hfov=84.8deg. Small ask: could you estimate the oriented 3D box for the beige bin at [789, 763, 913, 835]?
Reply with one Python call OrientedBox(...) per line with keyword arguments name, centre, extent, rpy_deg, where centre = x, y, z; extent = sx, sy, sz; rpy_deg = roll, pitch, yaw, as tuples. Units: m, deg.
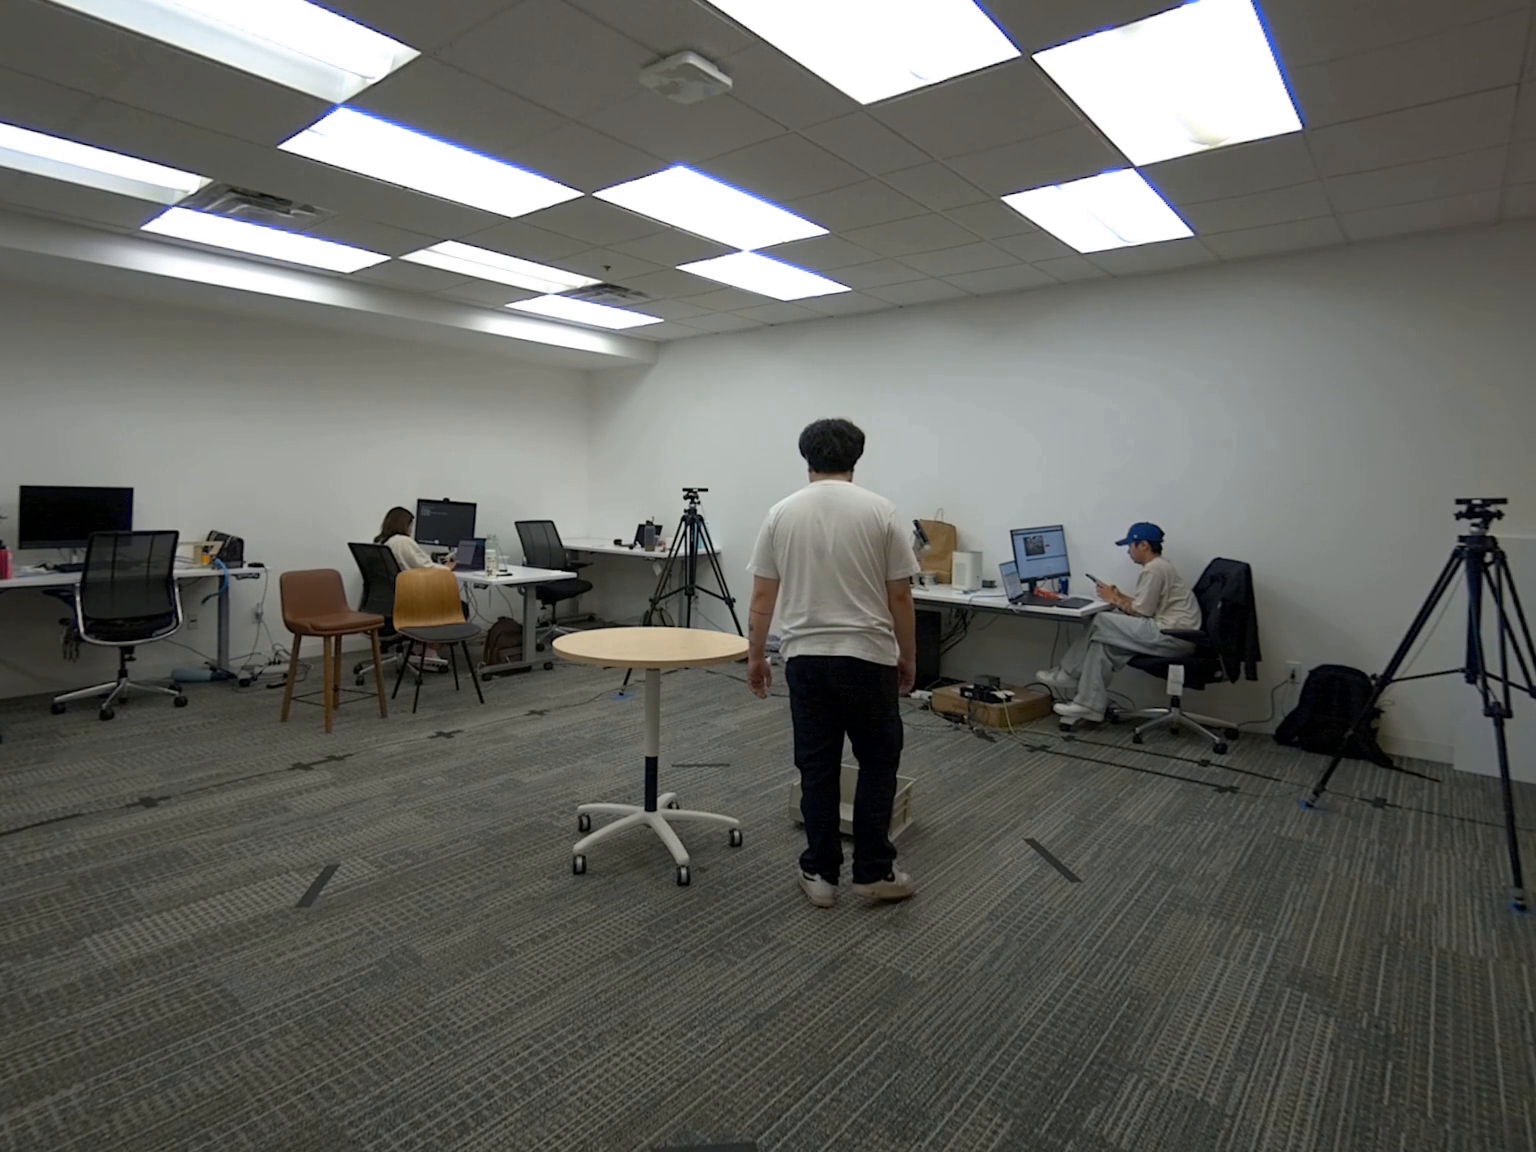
OrientedBox(name="beige bin", centre=(0.345, 0.944, 3.564), extent=(0.435, 0.188, 0.367), rpy_deg=(3, 5, 30))
